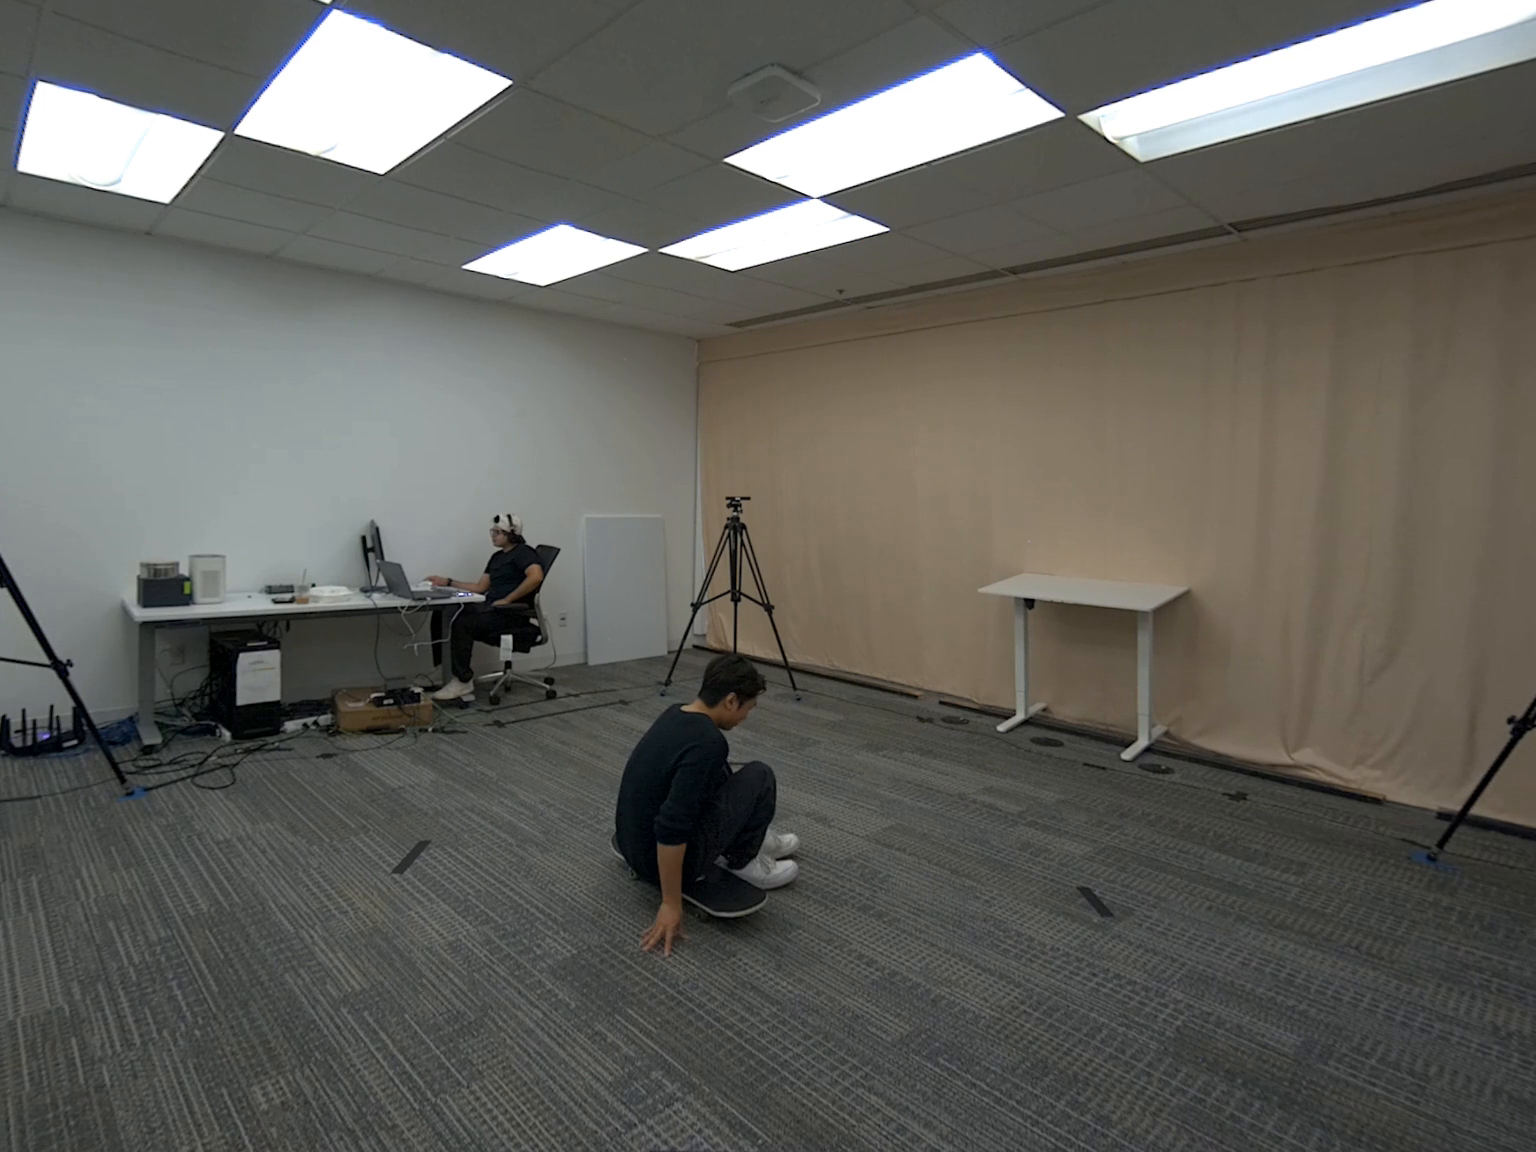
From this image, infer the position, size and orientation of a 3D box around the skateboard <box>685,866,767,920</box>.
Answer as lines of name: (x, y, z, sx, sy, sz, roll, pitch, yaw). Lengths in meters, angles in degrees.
skateboard: (-0.307, 1.072, 2.972, 0.190, 0.109, 0.806, -13, 14, -36)
